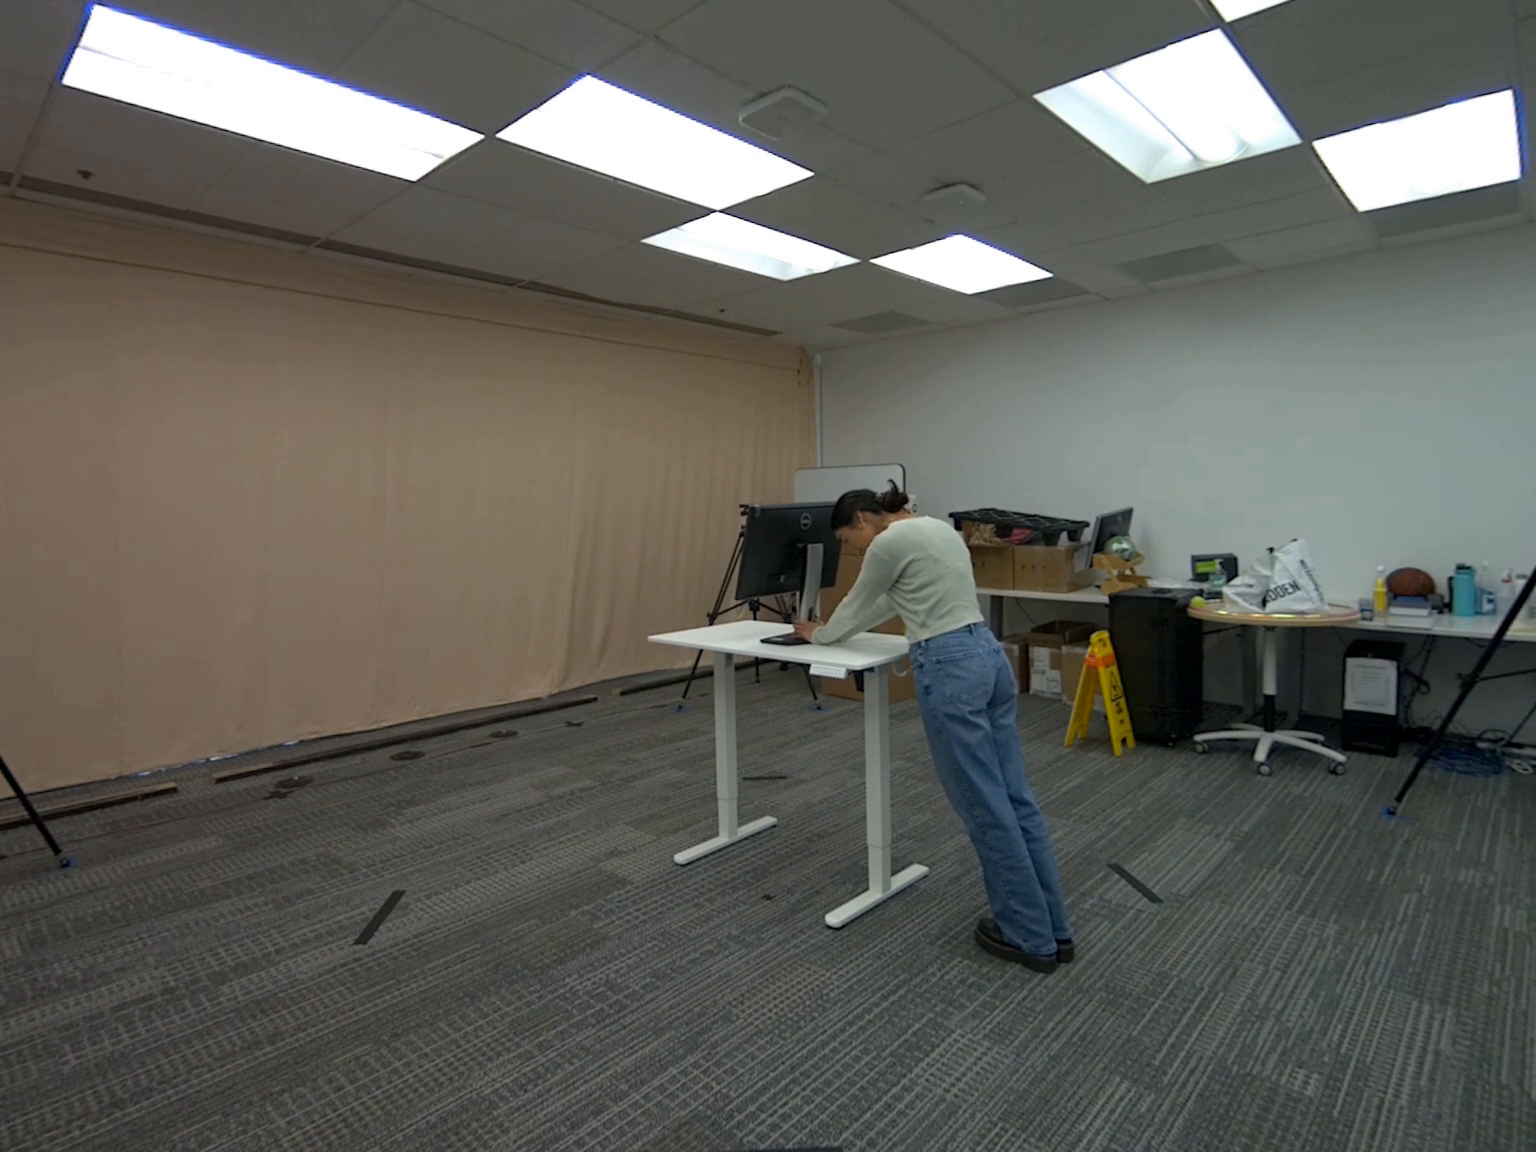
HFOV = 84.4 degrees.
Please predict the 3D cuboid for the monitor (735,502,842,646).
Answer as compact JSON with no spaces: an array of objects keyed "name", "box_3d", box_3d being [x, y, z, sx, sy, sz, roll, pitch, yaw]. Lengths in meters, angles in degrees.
[{"name":"monitor","box_3d":[0.124,-0.012,3.141,0.193,0.521,0.523,4,7,44]}]
